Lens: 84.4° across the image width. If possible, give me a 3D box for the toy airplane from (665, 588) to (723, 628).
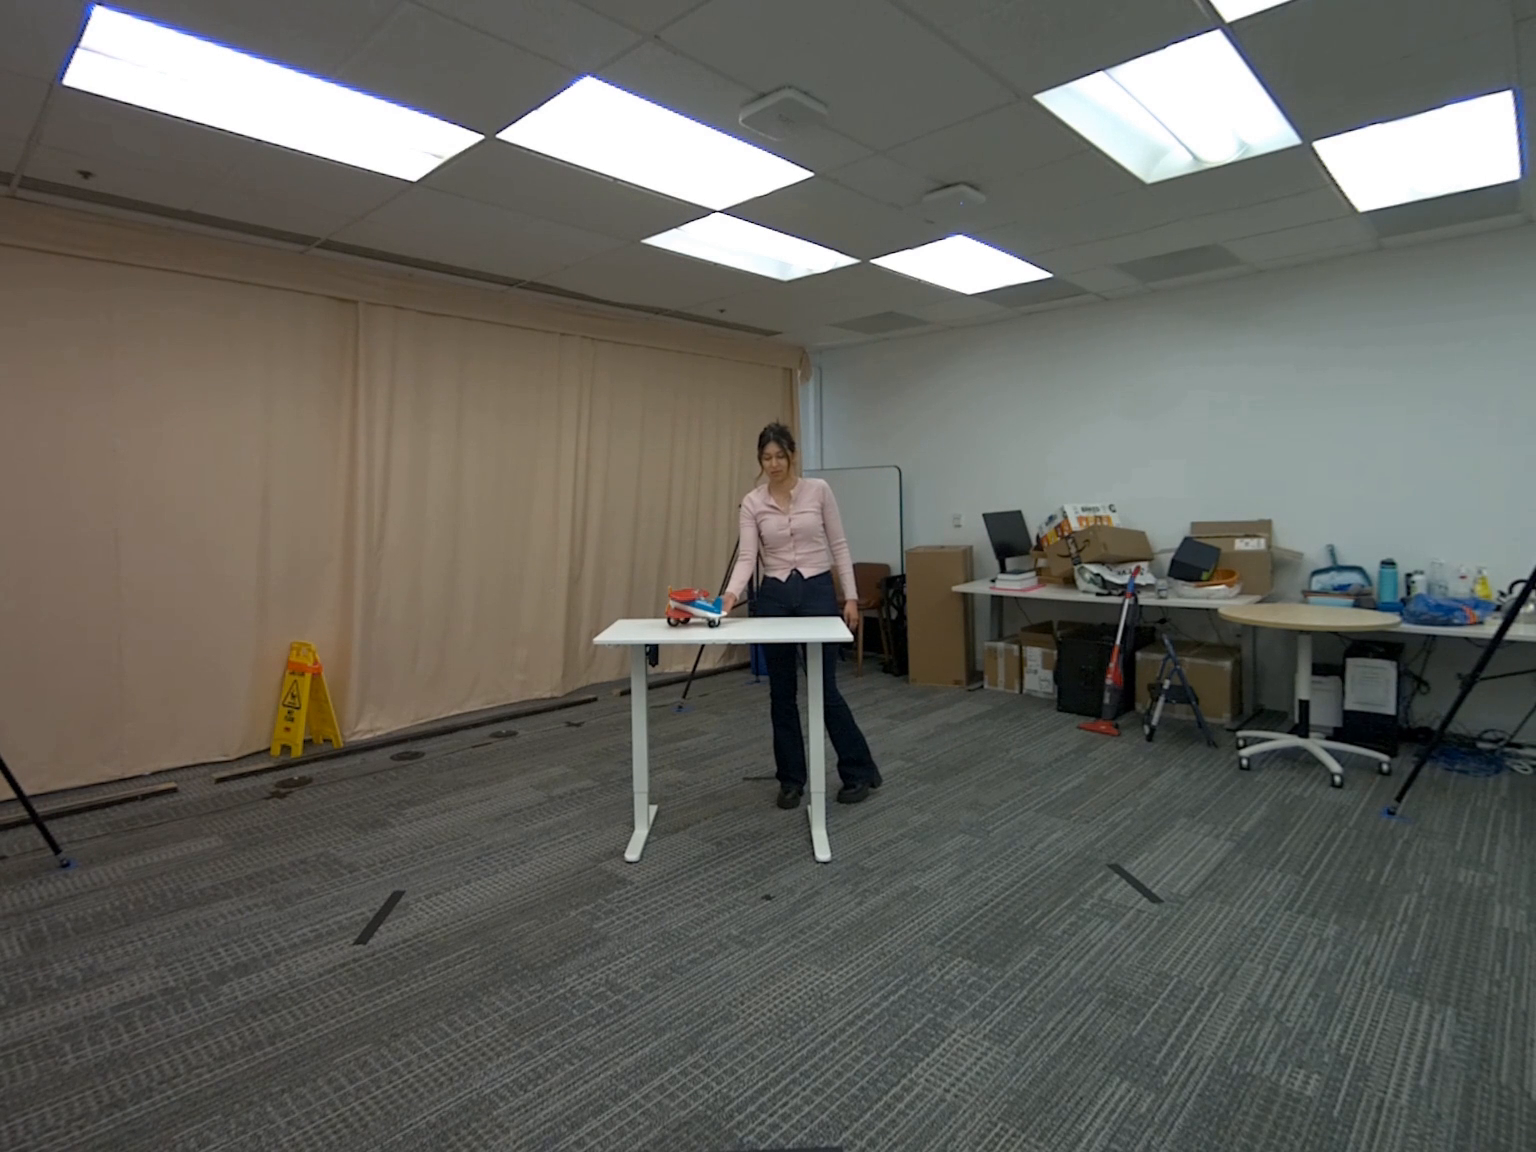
[{"bbox_3d":[-0.304,0.136,3.600,0.259,0.156,0.251,-2,4,0],"label":"toy airplane"}]
